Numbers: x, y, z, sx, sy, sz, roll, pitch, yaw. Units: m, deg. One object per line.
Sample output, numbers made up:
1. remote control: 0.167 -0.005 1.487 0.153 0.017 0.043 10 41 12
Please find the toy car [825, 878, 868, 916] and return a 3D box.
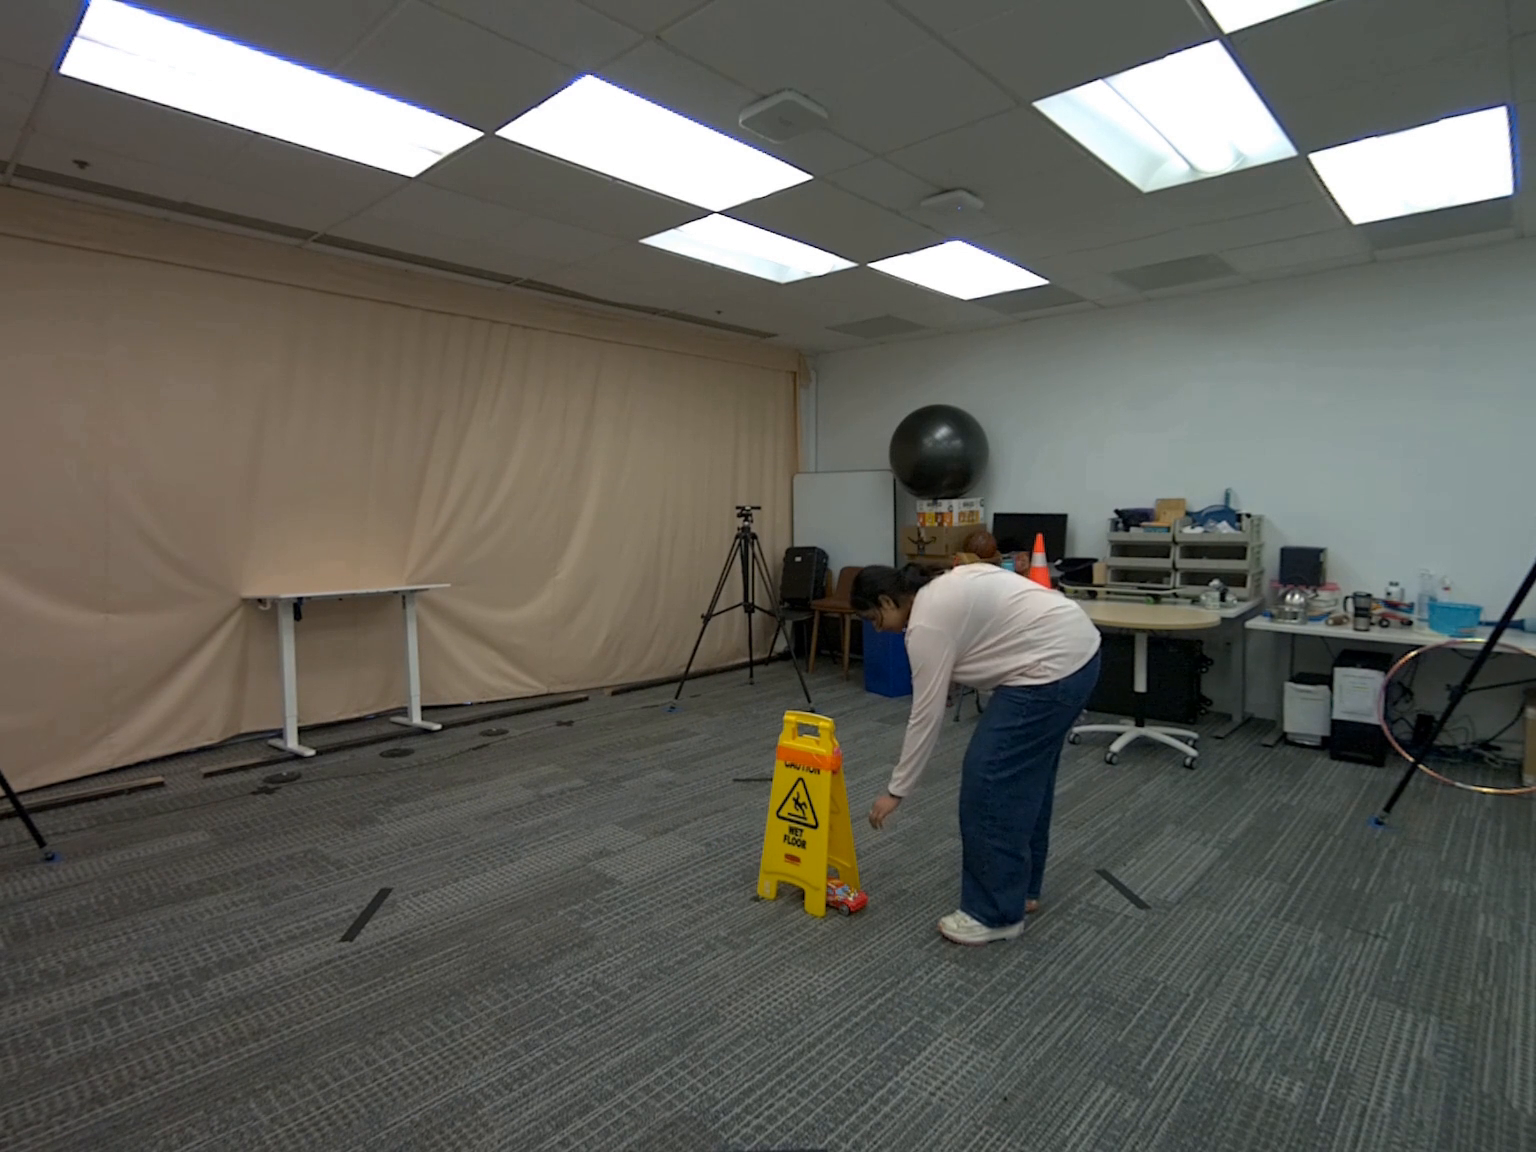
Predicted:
1. toy car: 0.228 1.117 2.969 0.264 0.083 0.126 14 15 43
